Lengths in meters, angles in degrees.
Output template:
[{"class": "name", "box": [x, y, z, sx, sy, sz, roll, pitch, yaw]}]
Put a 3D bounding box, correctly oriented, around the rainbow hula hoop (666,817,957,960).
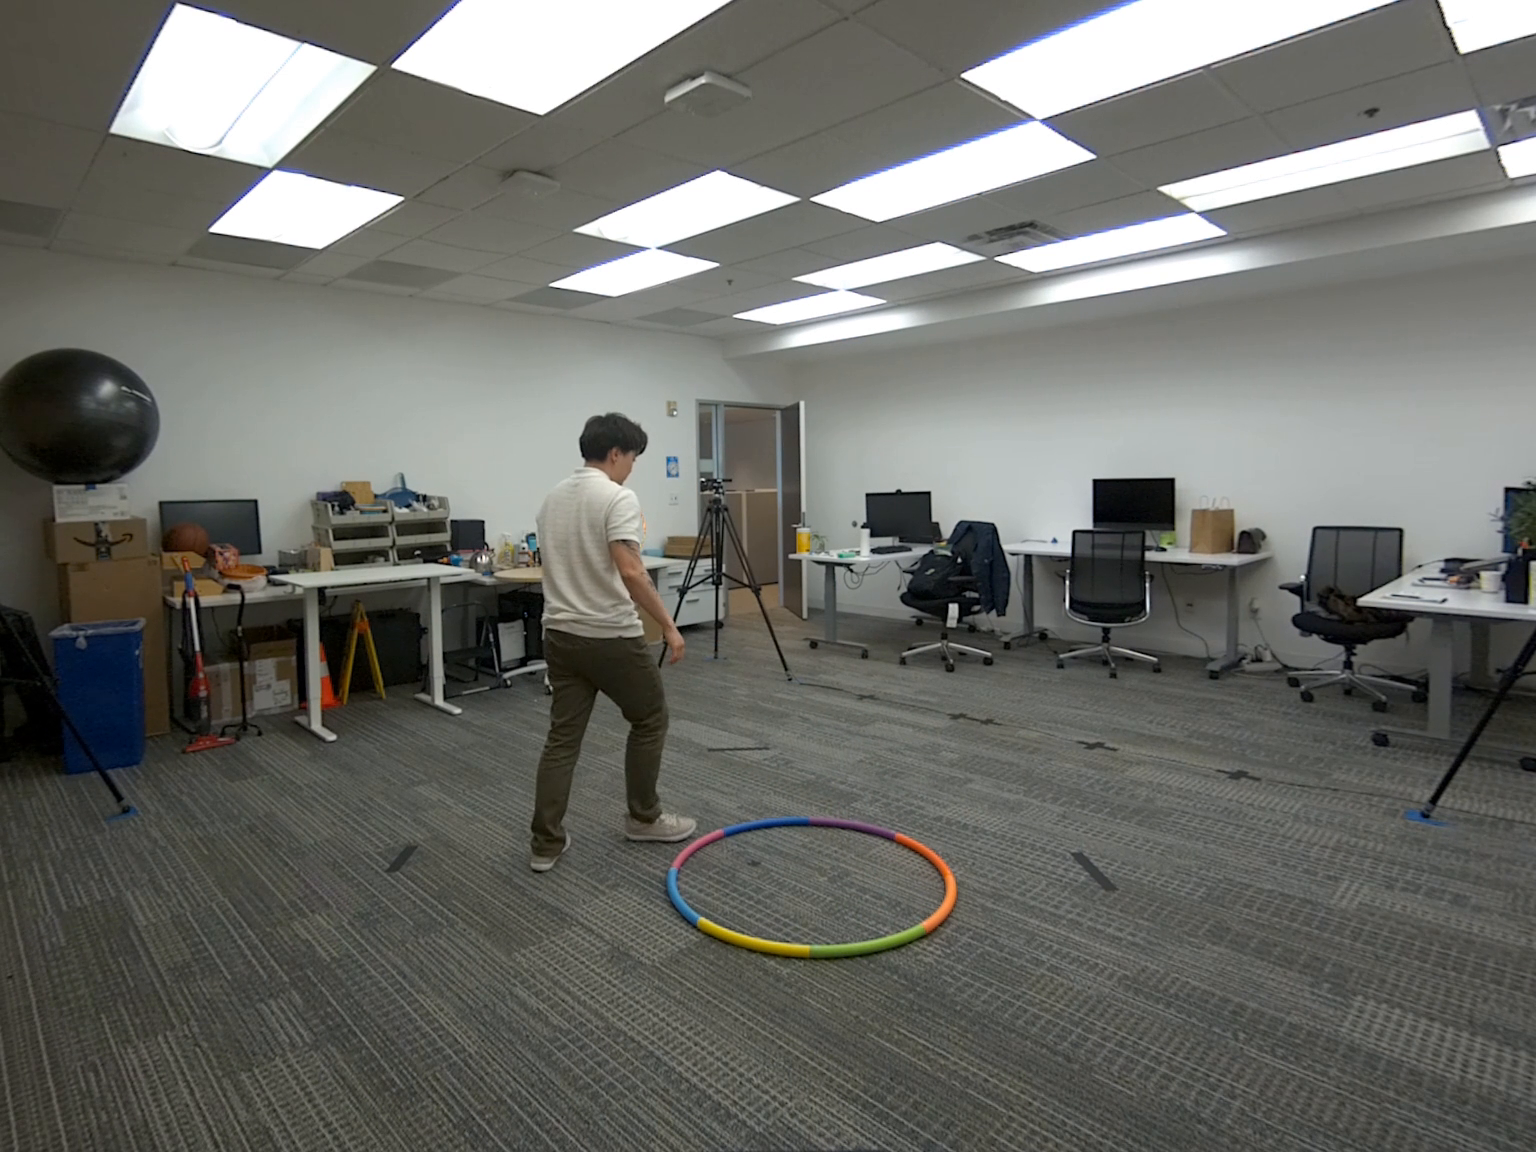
[{"class": "rainbow hula hoop", "box": [0.141, 1.026, 2.969, 0.978, 0.035, 0.984, -1, 7, -2]}]
